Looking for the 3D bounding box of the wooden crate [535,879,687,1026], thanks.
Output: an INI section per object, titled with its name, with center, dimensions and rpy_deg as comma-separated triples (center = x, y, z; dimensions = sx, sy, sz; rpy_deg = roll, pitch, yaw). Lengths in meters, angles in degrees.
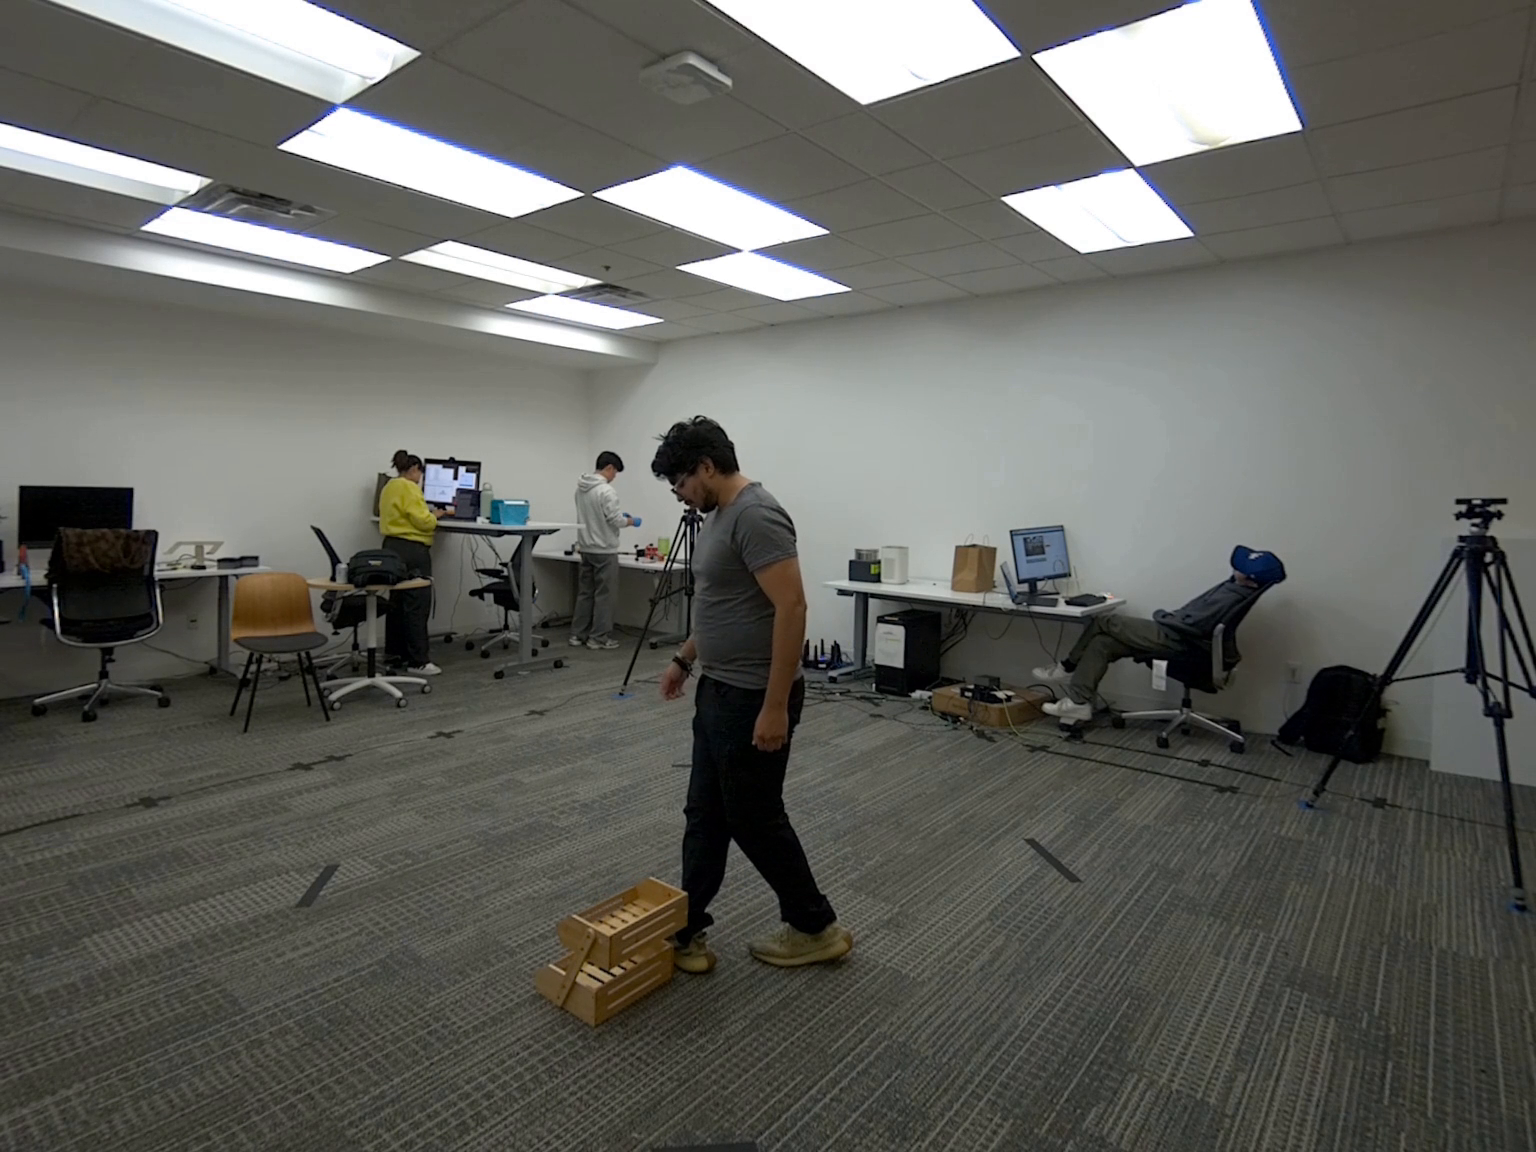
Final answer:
[wooden crate]
center = -0.444, 1.008, 2.355
dimensions = 0.312, 0.272, 0.315
rpy_deg = 5, 5, 37
